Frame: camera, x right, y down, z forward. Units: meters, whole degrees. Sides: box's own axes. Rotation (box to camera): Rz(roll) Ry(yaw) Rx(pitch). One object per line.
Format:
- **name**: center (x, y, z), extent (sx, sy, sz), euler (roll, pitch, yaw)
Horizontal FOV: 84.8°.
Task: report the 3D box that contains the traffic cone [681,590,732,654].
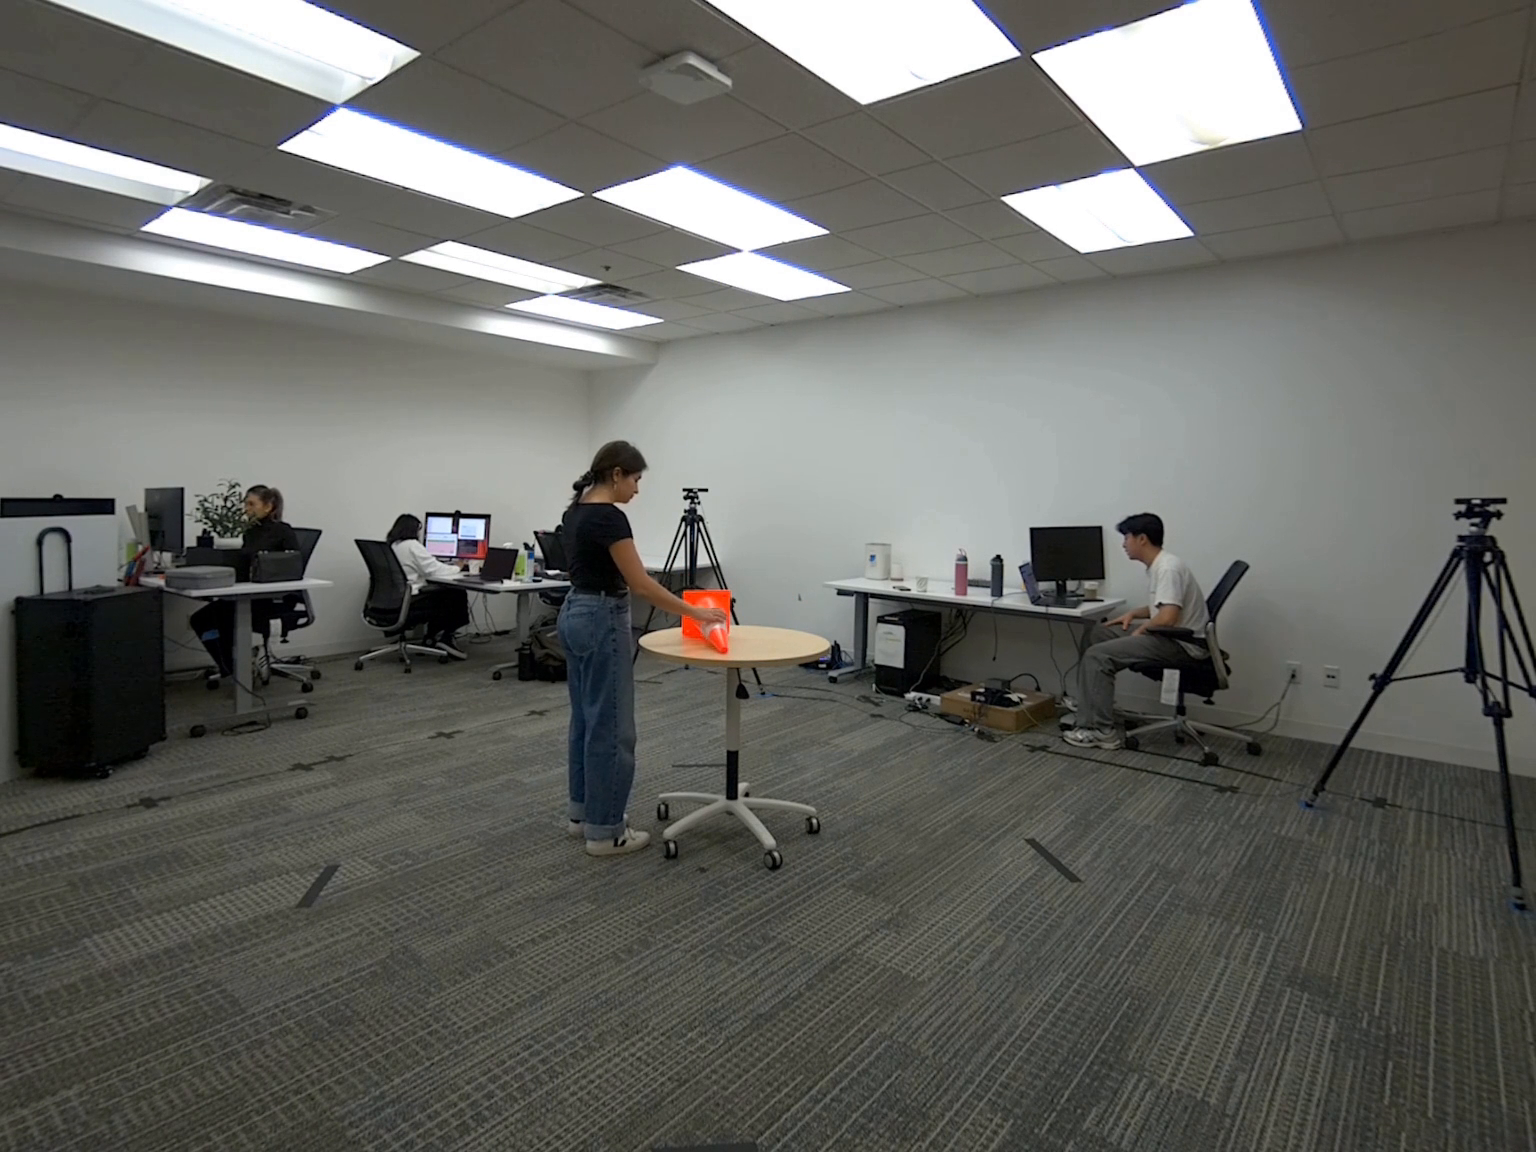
- **traffic cone**: center (-0.213, 0.216, 3.327), extent (0.202, 0.200, 0.395), euler (-1, 20, -13)
